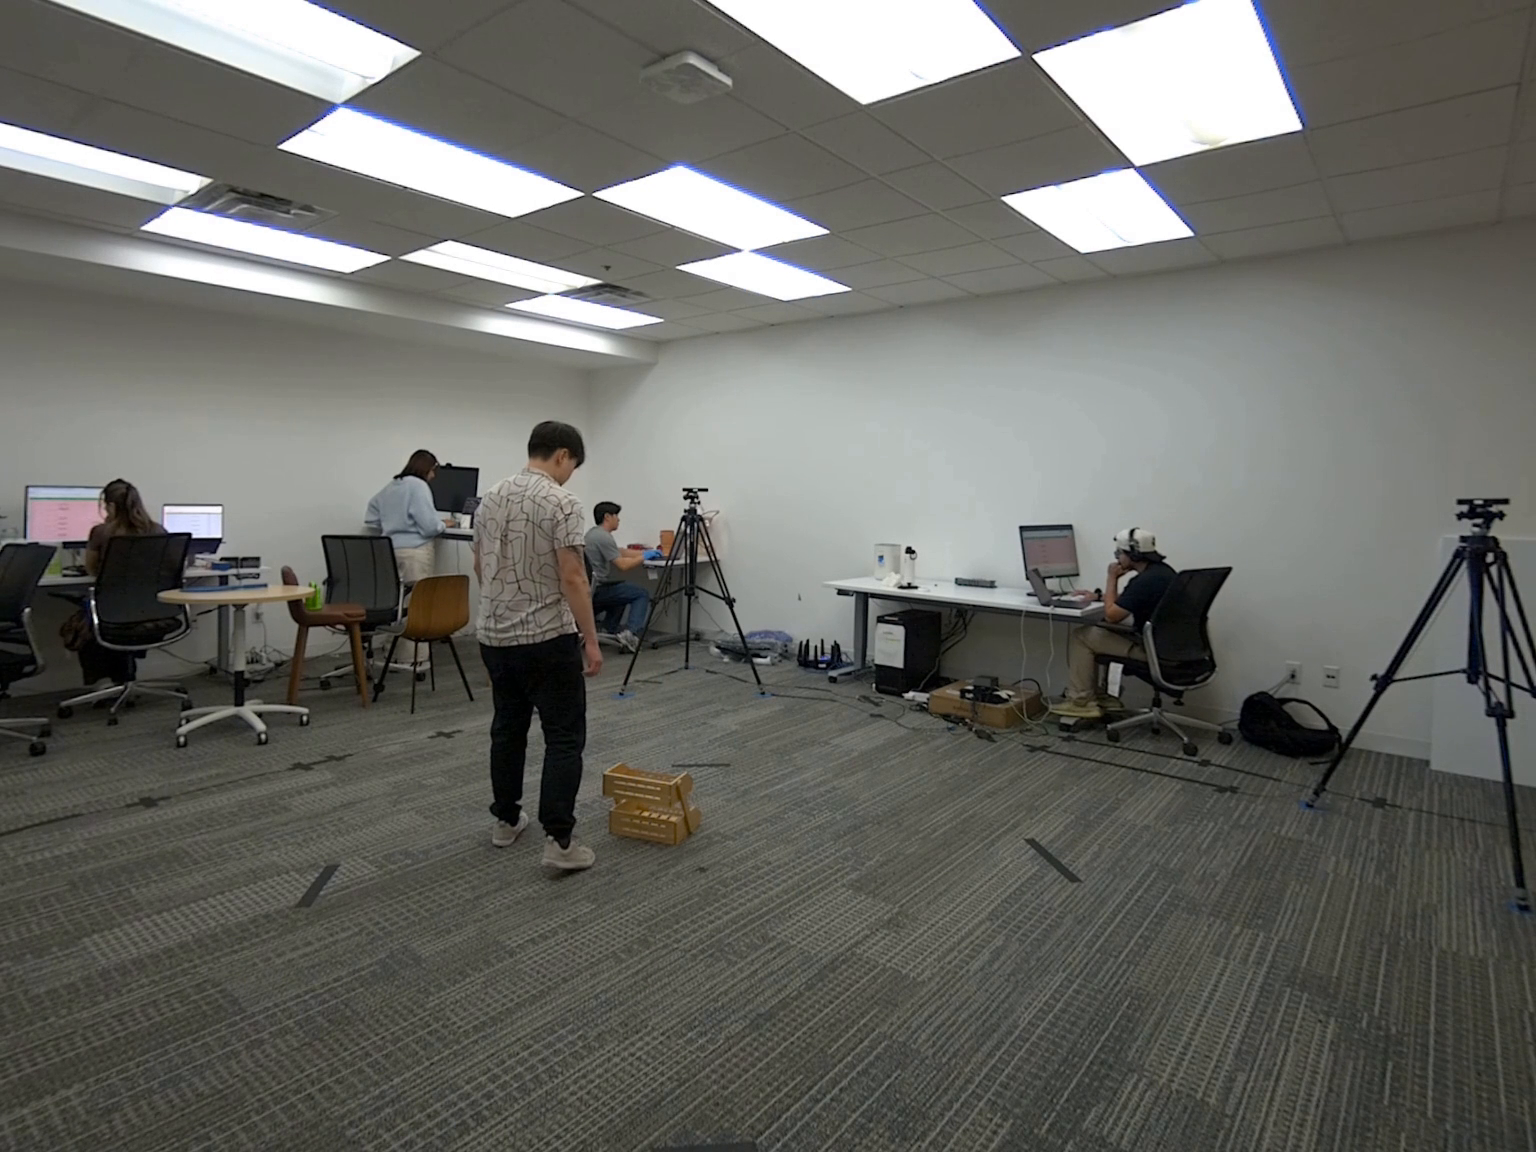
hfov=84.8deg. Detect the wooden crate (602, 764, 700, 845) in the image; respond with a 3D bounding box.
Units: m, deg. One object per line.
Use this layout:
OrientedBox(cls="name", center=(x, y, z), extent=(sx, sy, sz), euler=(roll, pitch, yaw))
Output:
OrientedBox(cls="wooden crate", center=(-0.478, 0.904, 3.456), extent=(0.332, 0.272, 0.296), euler=(2, 5, 21))
